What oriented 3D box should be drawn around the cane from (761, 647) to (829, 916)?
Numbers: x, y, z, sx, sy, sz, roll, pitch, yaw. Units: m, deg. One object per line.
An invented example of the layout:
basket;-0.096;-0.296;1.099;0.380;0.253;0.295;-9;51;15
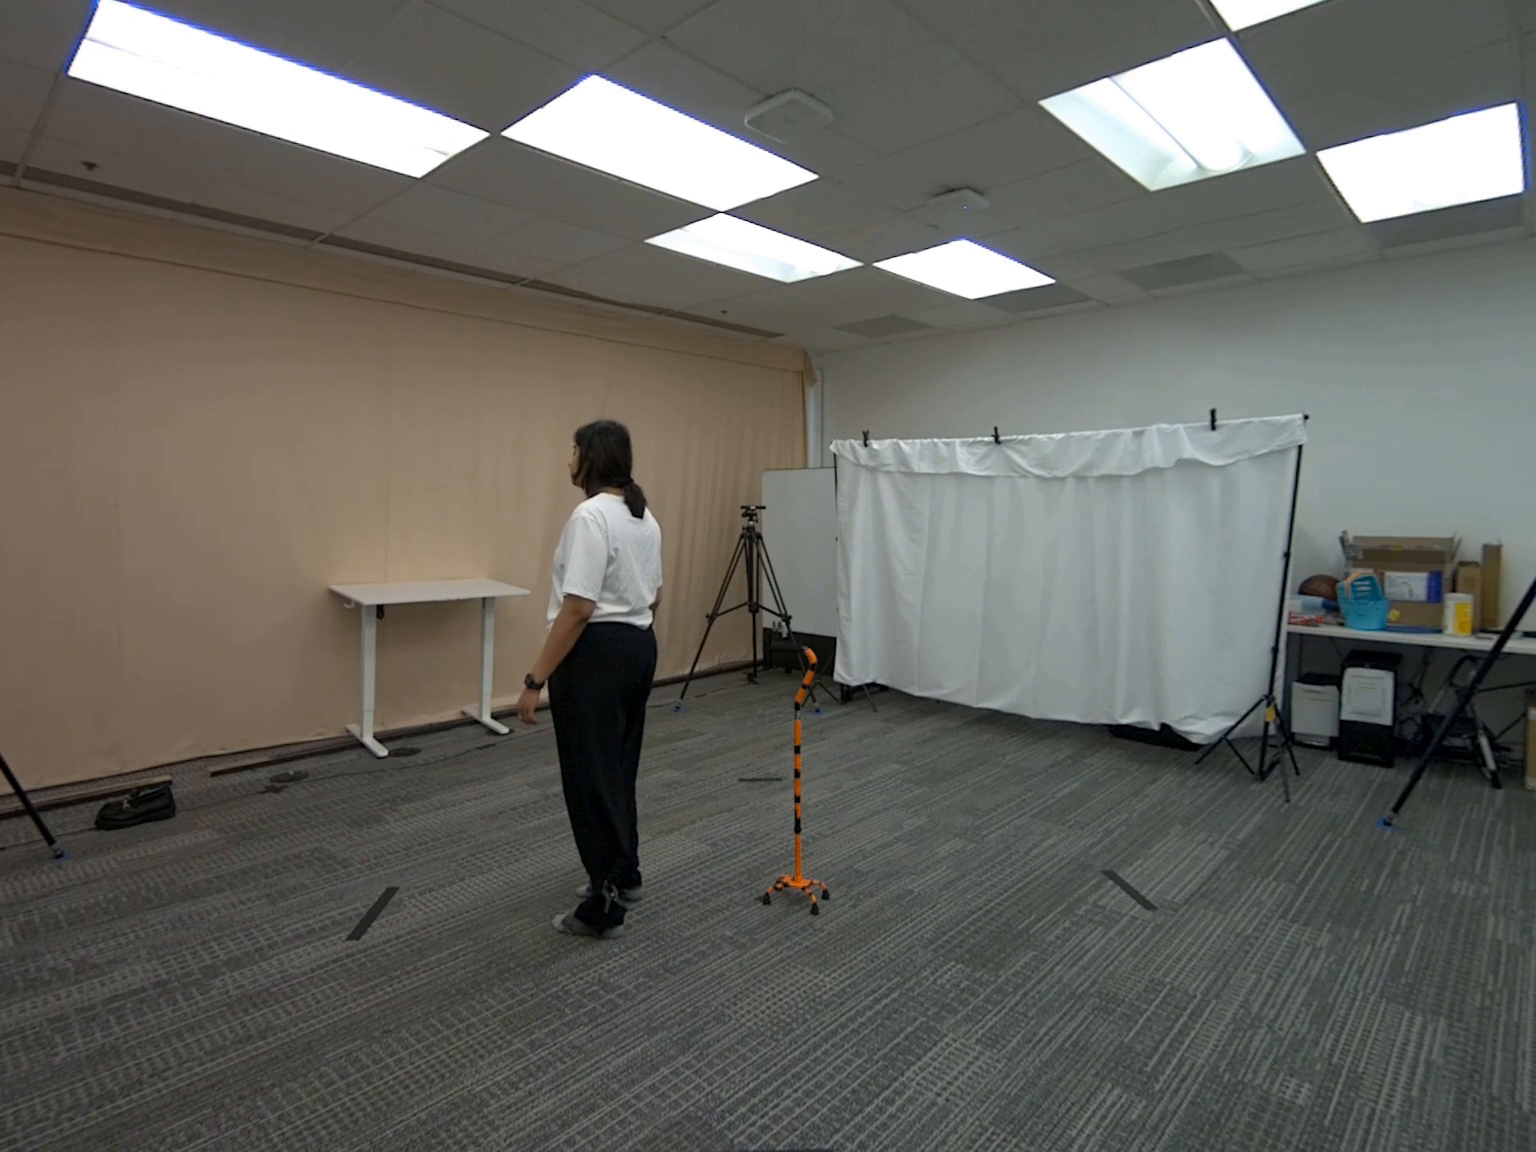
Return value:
cane;0.109;0.695;2.934;0.211;0.906;0.148;2;4;23
